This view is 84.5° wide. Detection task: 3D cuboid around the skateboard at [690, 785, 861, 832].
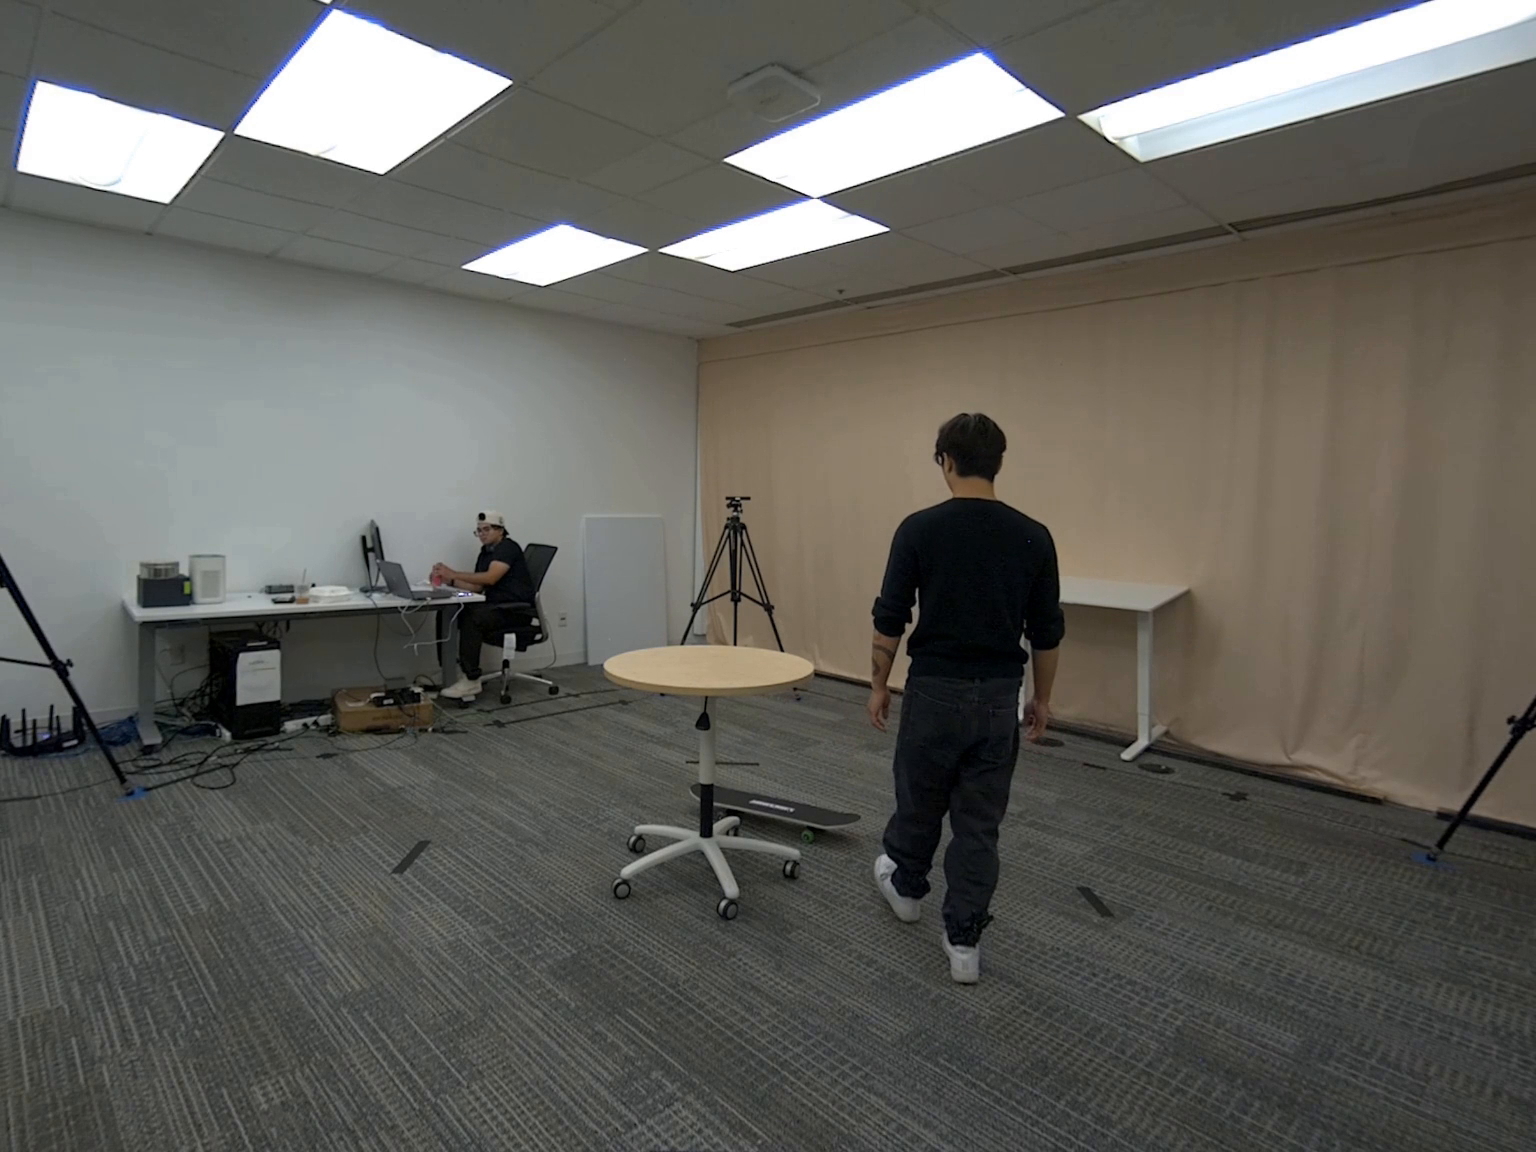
[{"bbox_3d":[0.012,1.005,3.588,0.802,0.110,0.190,4,5,29],"label":"skateboard"}]
